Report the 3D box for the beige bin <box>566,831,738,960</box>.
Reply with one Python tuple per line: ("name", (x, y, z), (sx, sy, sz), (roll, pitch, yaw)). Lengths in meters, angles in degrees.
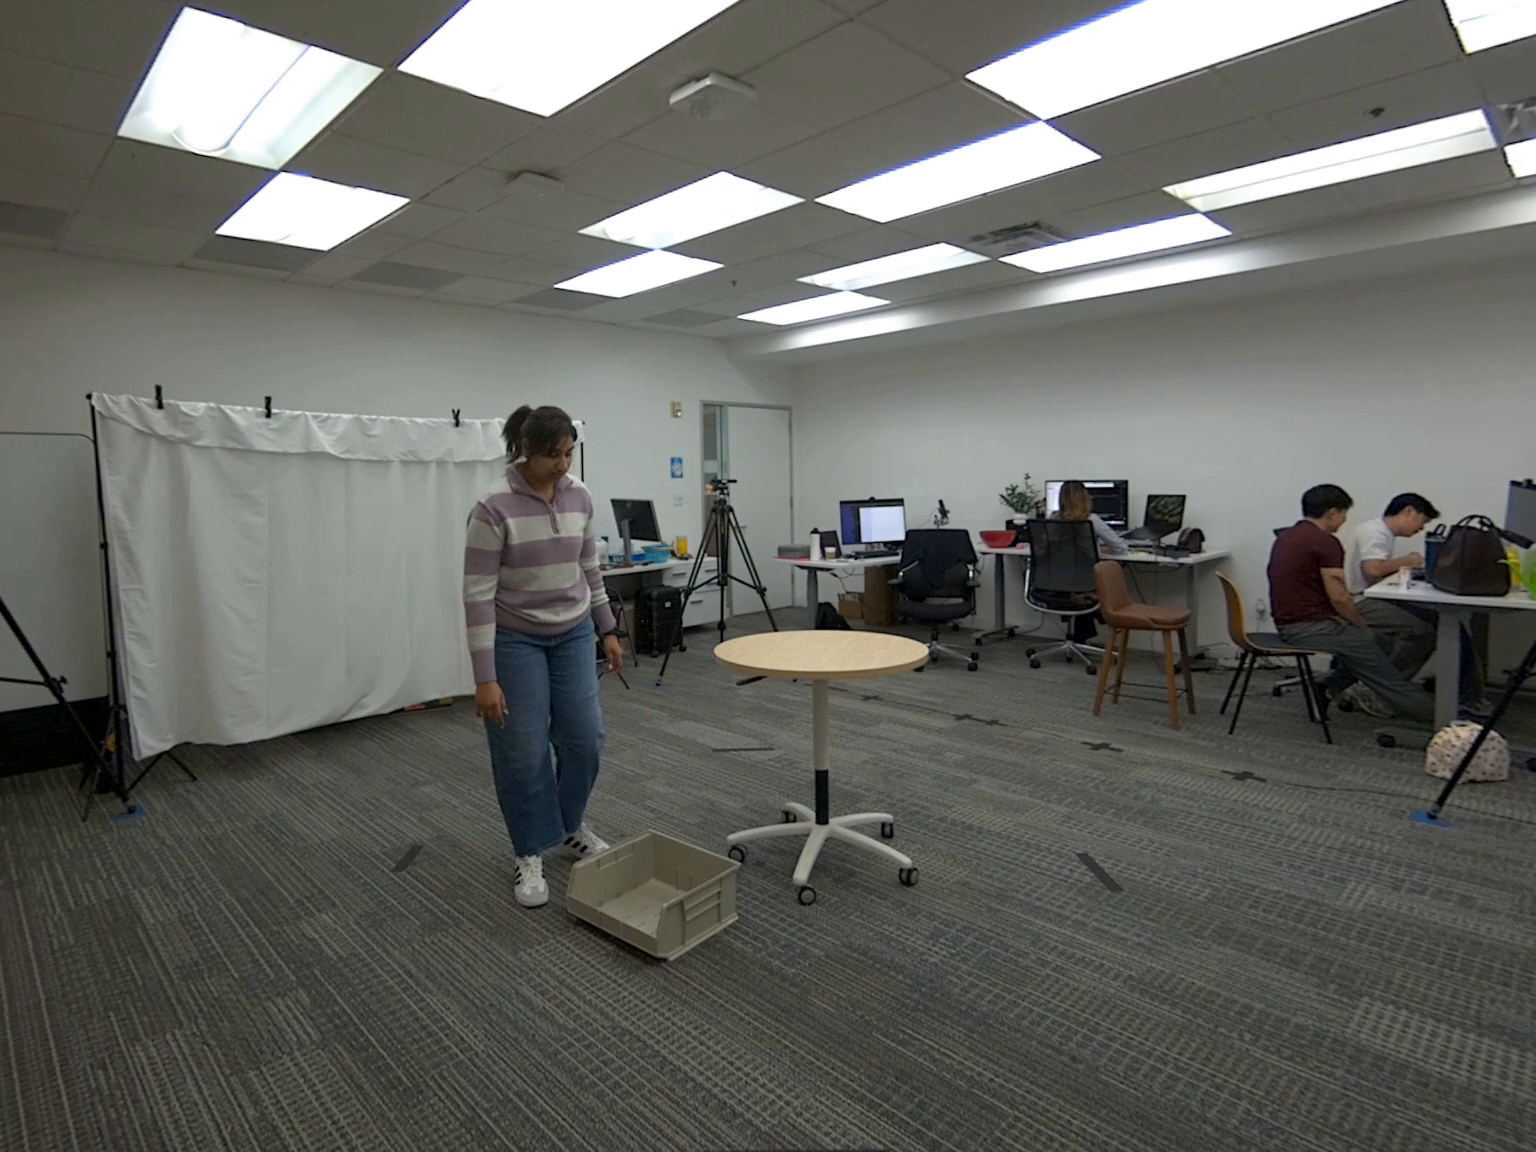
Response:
("beige bin", (-0.363, 1.009, 2.717), (0.435, 0.188, 0.367), (4, 7, 40))
